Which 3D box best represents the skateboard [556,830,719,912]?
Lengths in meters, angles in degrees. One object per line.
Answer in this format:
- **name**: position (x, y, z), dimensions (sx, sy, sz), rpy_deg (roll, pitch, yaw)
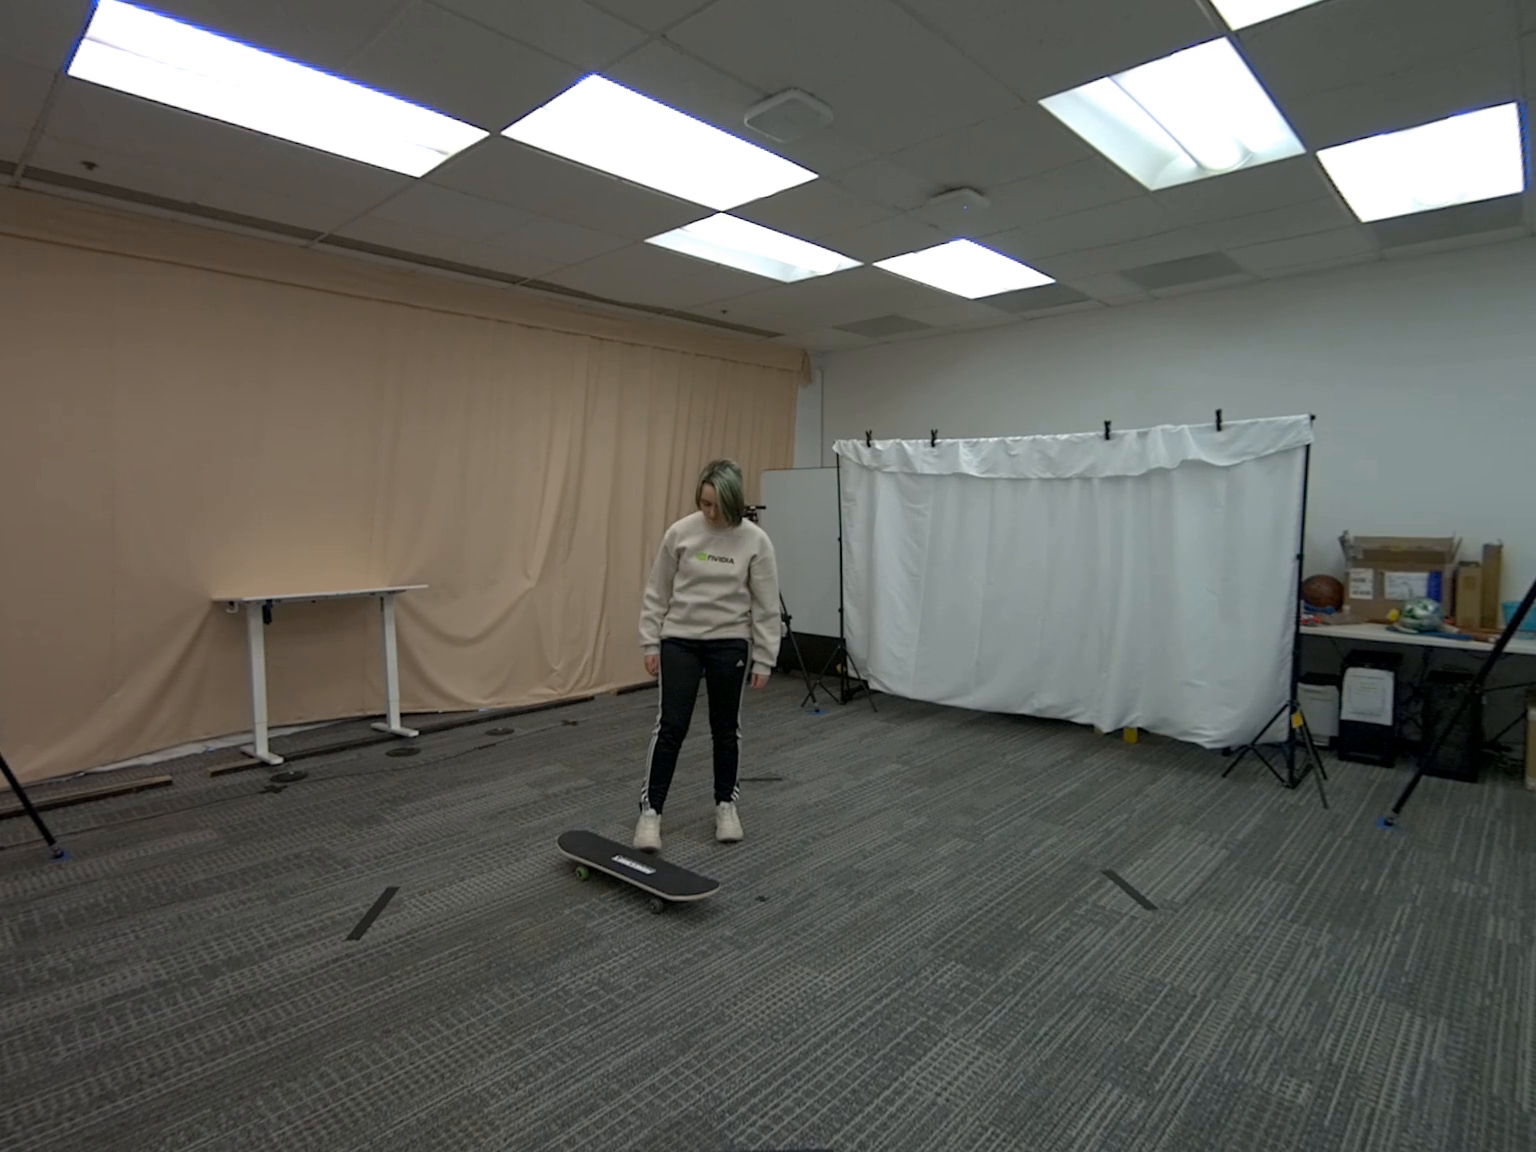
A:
- **skateboard**: position (-0.489, 1.082, 3.072), dimensions (0.811, 0.110, 0.187), rpy_deg (4, 6, 40)
